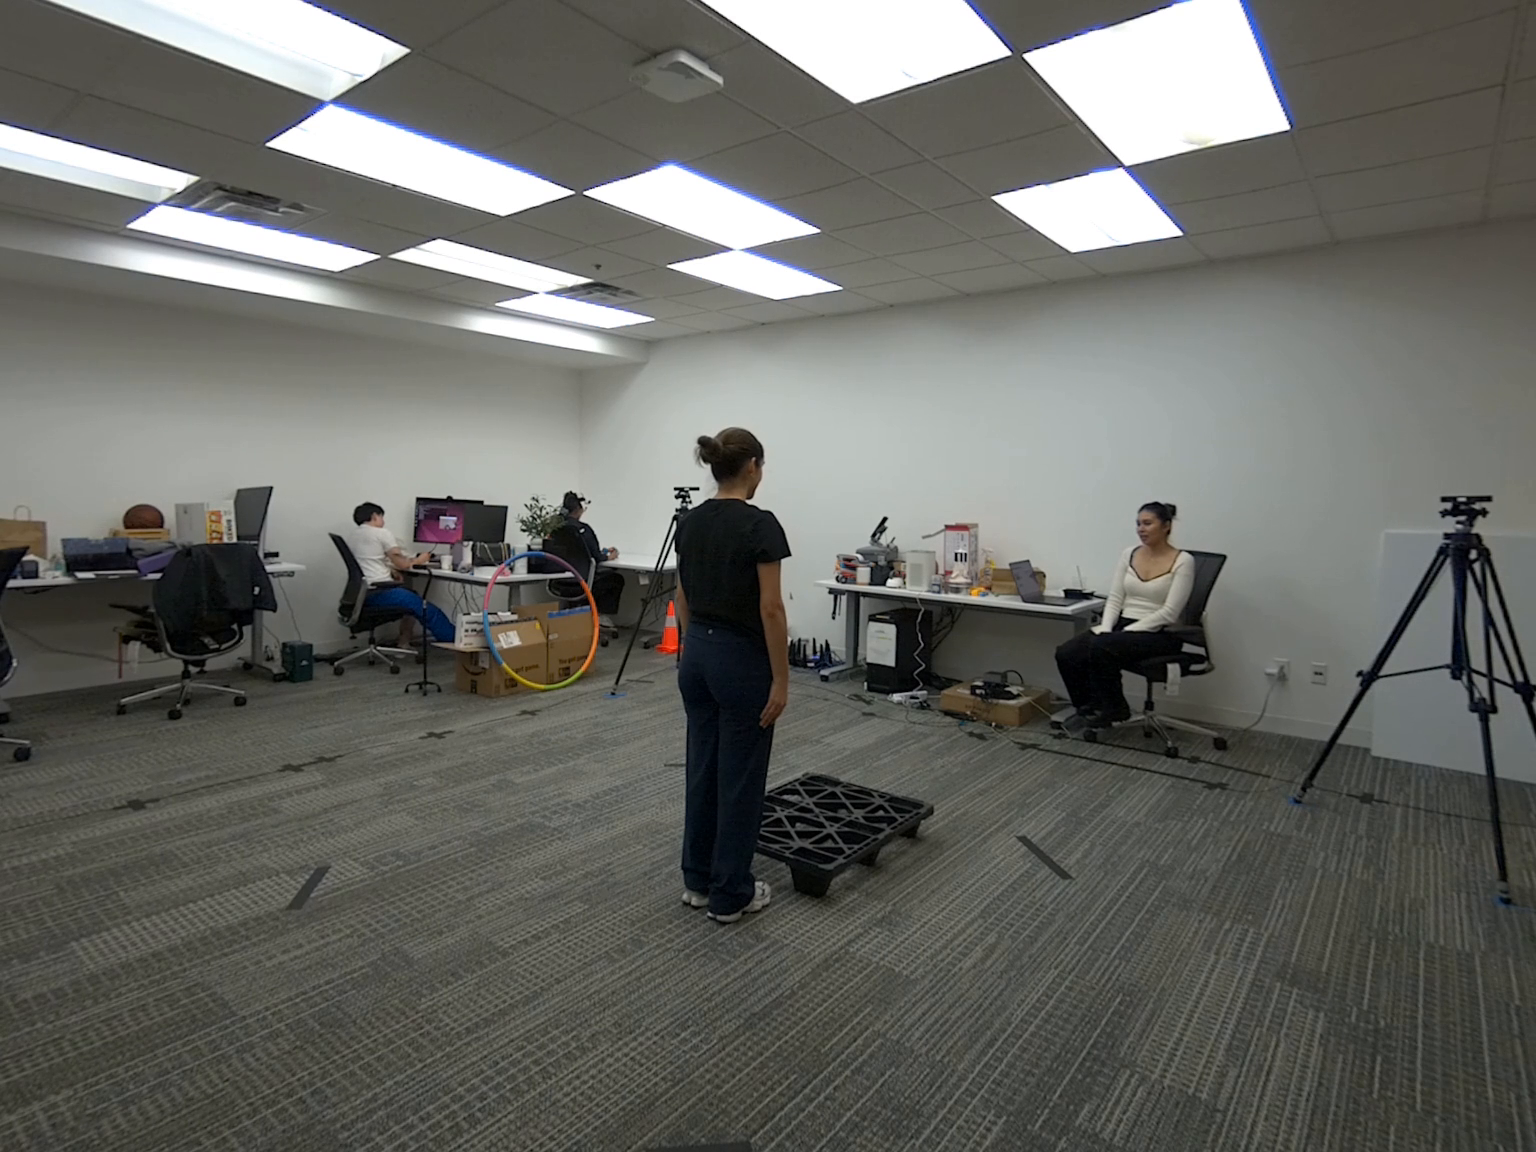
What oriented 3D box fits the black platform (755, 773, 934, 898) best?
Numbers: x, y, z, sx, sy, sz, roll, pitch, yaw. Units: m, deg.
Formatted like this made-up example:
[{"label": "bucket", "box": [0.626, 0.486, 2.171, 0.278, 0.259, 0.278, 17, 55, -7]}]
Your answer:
[{"label": "black platform", "box": [0.213, 0.989, 3.323, 0.625, 0.143, 0.782, 5, 6, 38]}]
